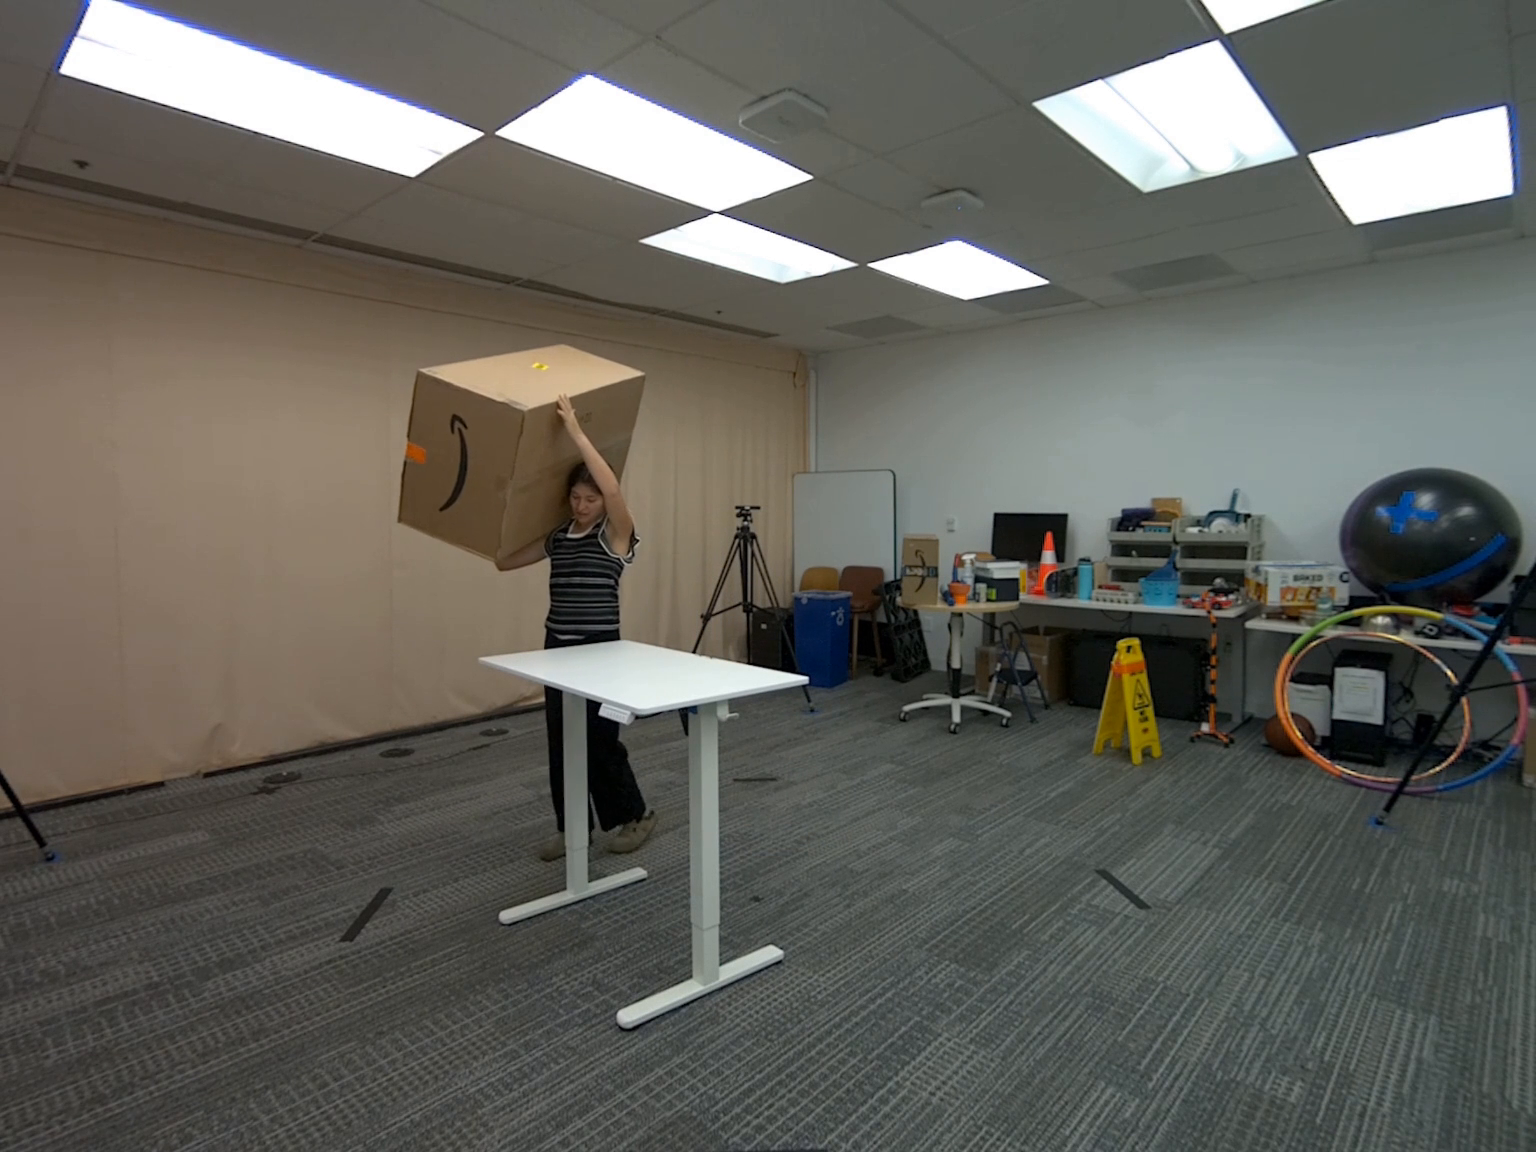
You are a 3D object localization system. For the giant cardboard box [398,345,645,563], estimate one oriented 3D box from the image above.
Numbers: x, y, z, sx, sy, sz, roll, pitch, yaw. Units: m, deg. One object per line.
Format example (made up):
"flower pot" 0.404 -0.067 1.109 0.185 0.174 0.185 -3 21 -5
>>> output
"giant cardboard box" -0.938 -0.536 3.366 0.432 0.574 1.018 22 24 9
